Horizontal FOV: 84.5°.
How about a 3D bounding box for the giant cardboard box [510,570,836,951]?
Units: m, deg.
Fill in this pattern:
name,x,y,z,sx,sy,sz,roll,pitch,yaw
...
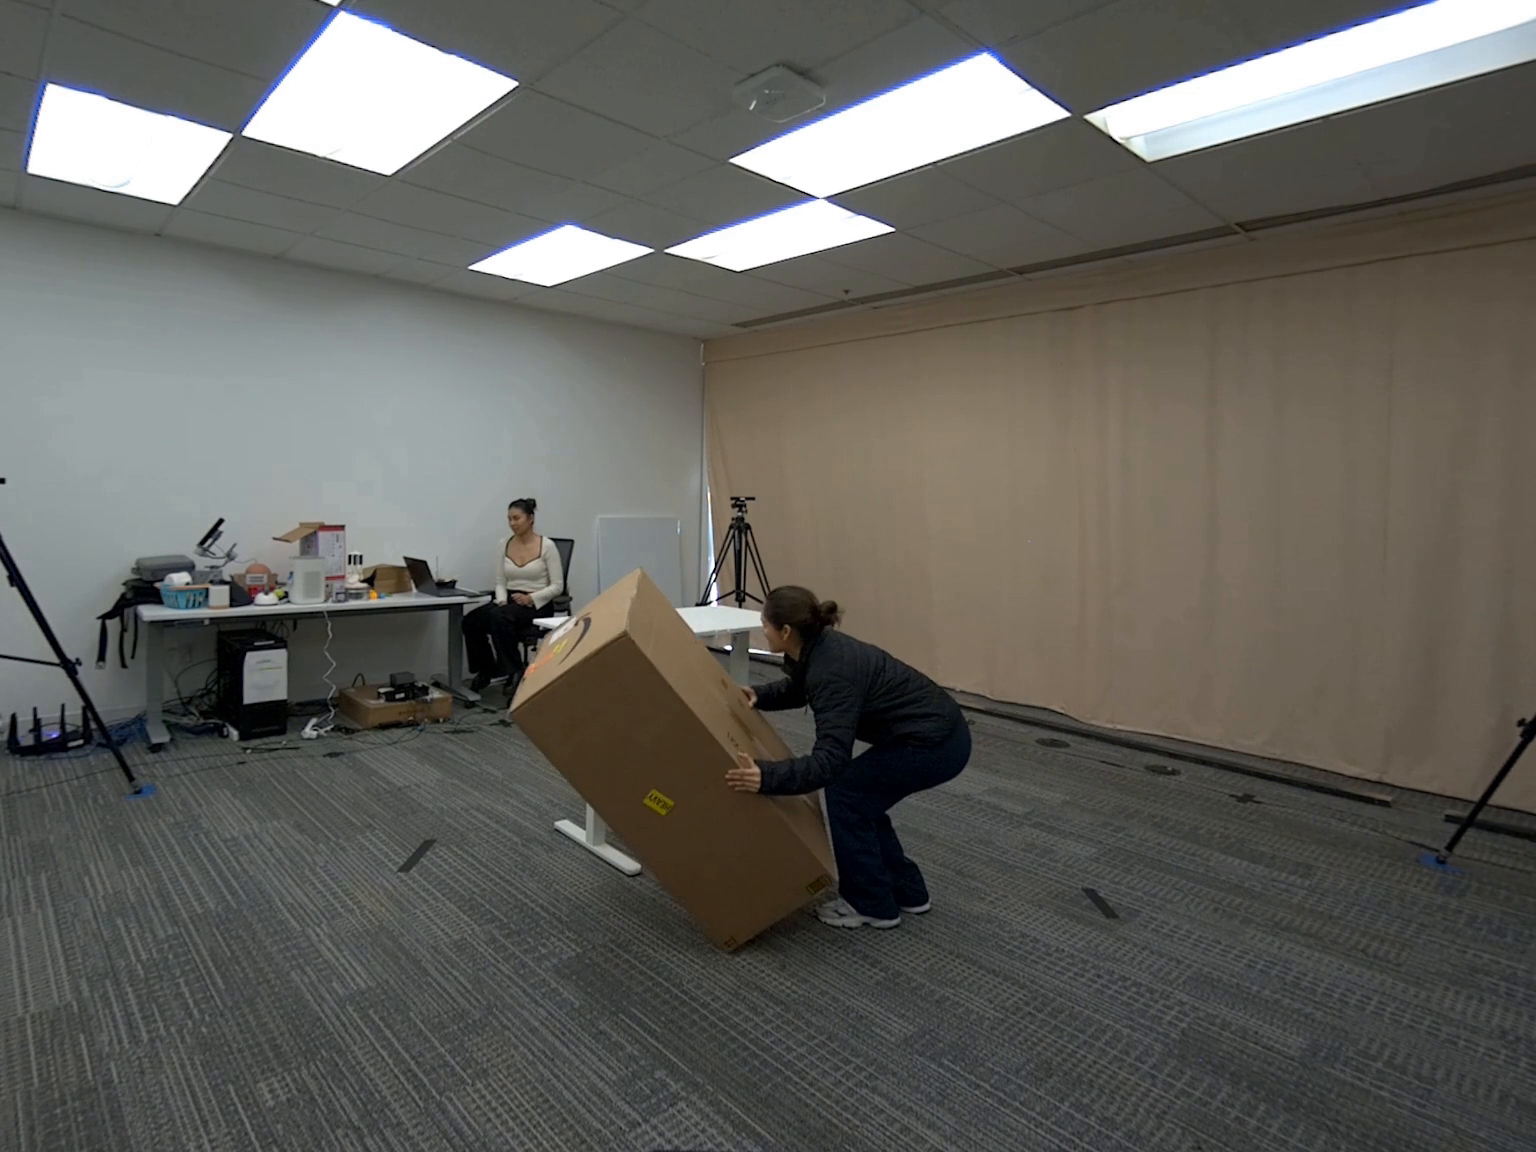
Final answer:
name,x,y,z,sx,sy,sz,roll,pitch,yaw
giant cardboard box,-0.291,0.548,2.678,0.427,1.010,0.585,-34,15,9
